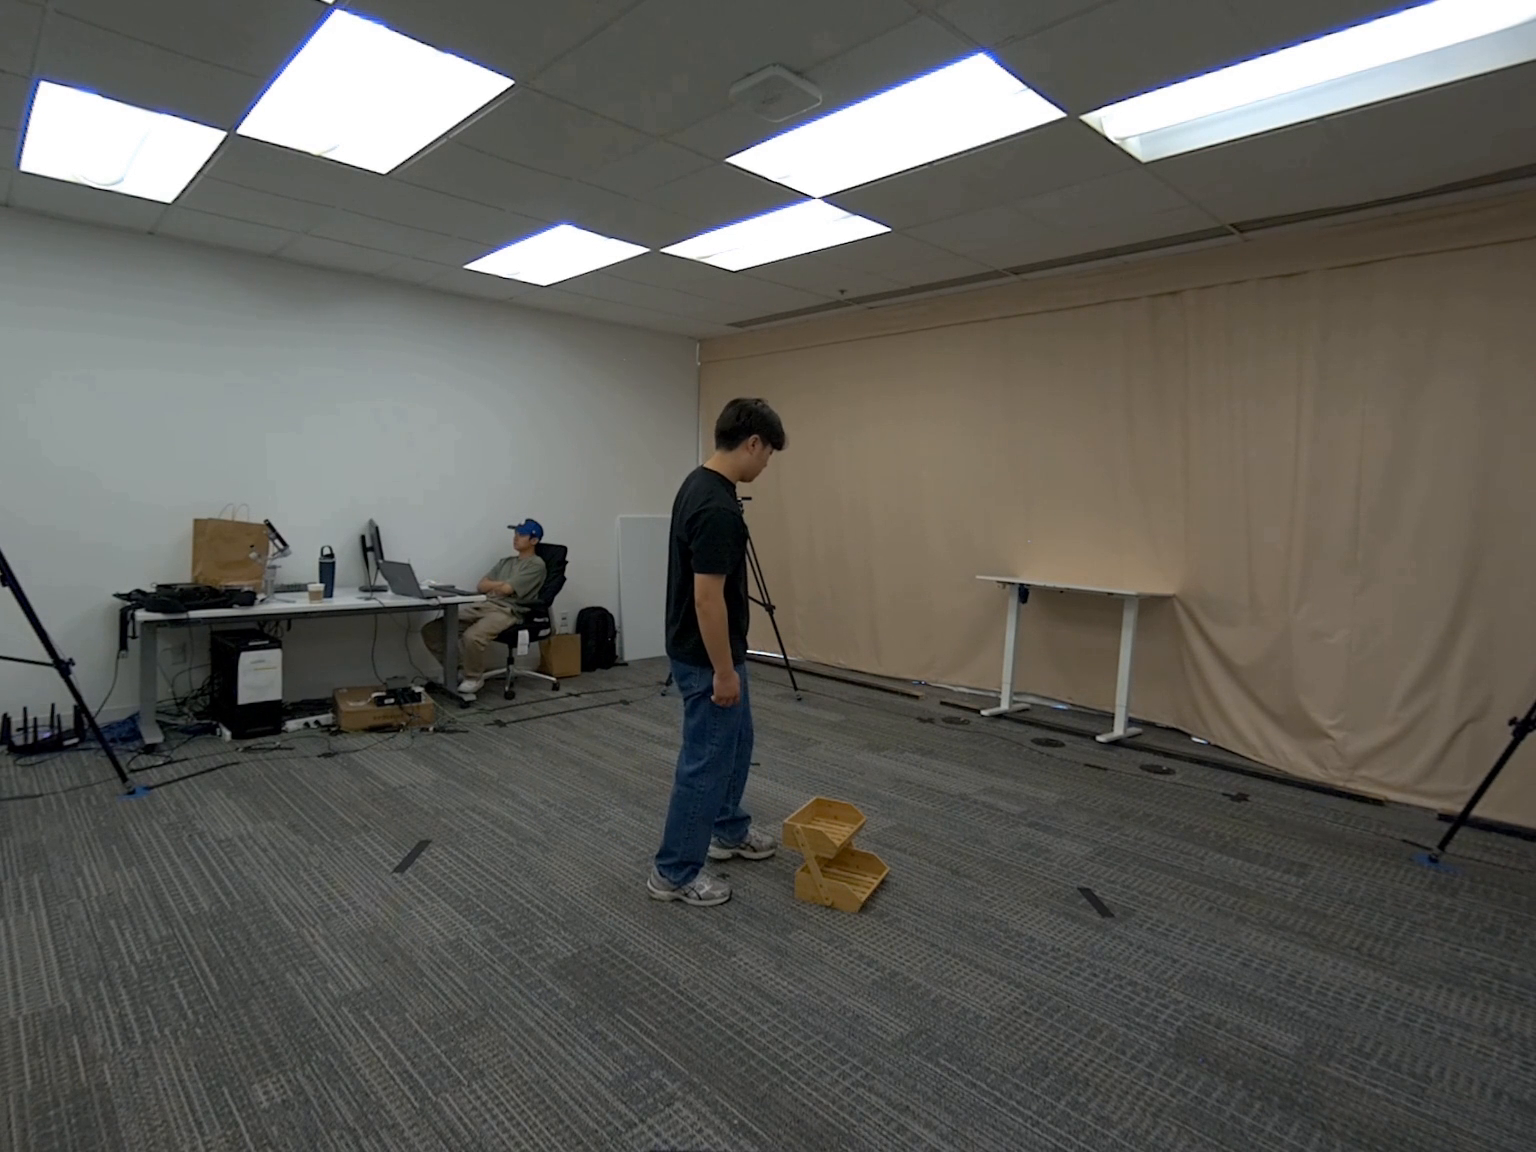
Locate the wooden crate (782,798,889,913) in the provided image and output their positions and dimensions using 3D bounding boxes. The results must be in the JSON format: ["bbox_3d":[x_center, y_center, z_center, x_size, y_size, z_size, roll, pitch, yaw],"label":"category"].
[{"bbox_3d":[0.254,0.995,3.013,0.308,0.272,0.319,3,5,27],"label":"wooden crate"}]
